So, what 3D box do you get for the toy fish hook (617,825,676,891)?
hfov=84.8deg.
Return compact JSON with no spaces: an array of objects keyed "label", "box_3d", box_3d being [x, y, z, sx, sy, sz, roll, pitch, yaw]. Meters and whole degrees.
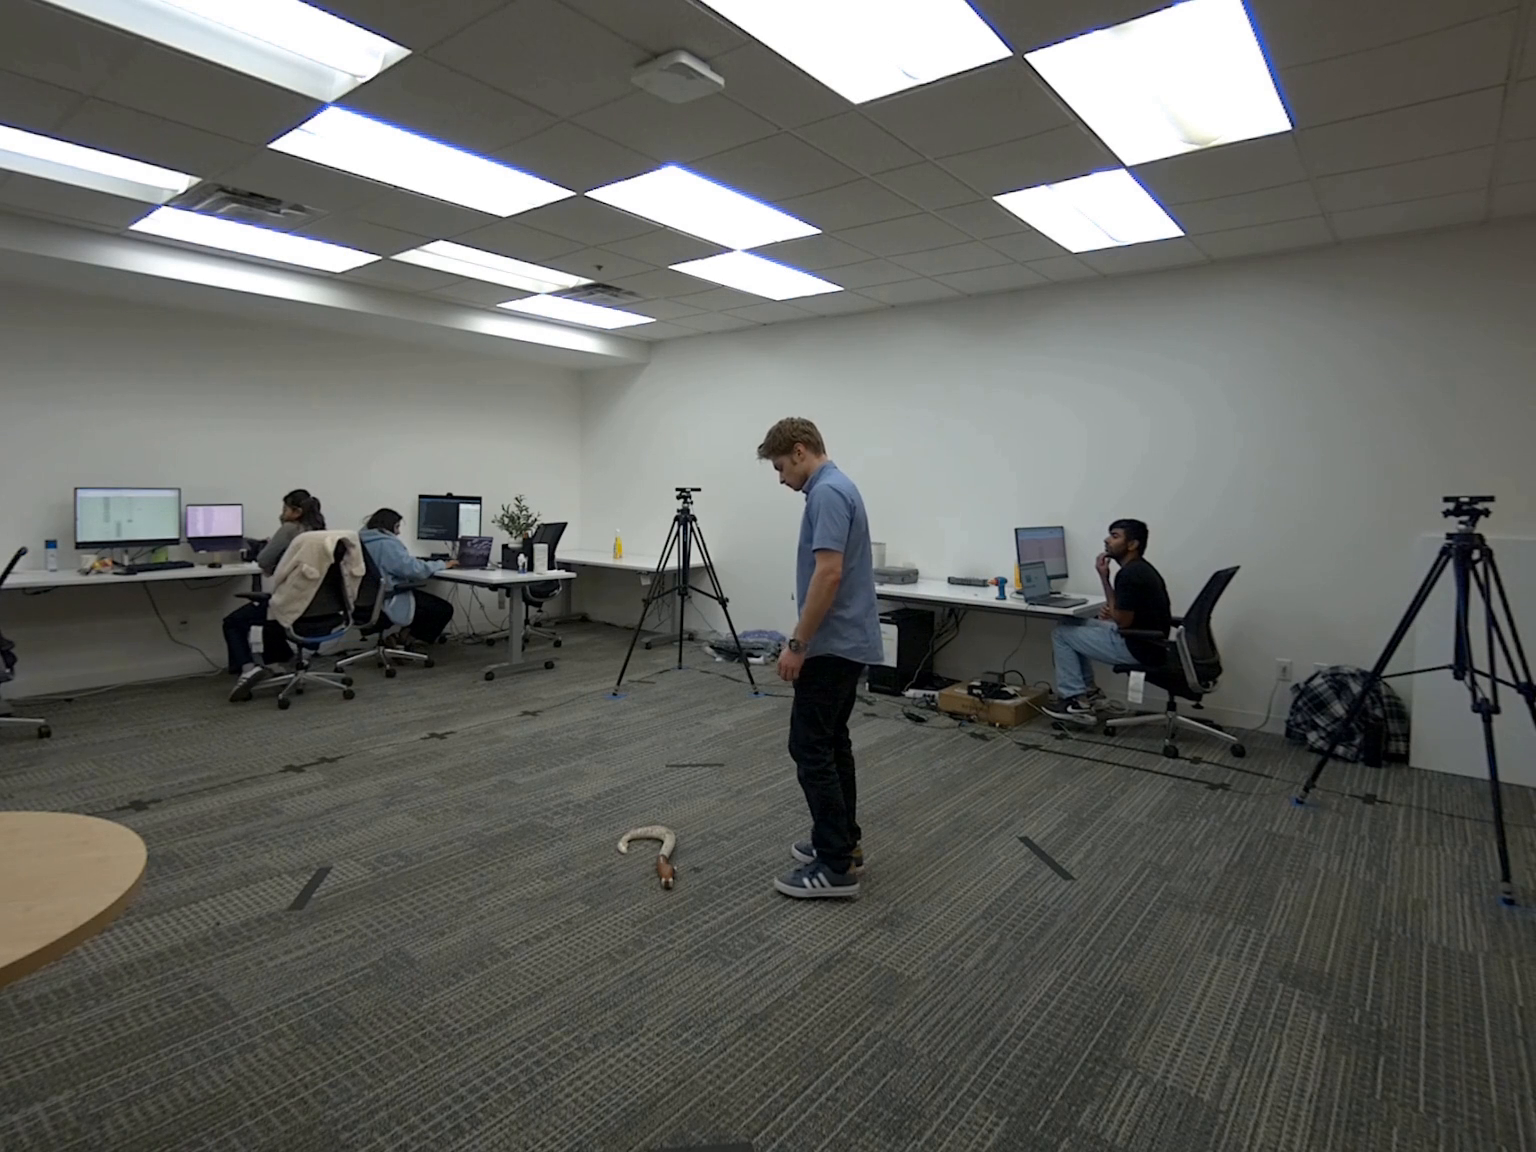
[{"label":"toy fish hook","box_3d":[-0.453,1.043,3.172,0.223,0.048,0.513,-8,6,-10]}]
